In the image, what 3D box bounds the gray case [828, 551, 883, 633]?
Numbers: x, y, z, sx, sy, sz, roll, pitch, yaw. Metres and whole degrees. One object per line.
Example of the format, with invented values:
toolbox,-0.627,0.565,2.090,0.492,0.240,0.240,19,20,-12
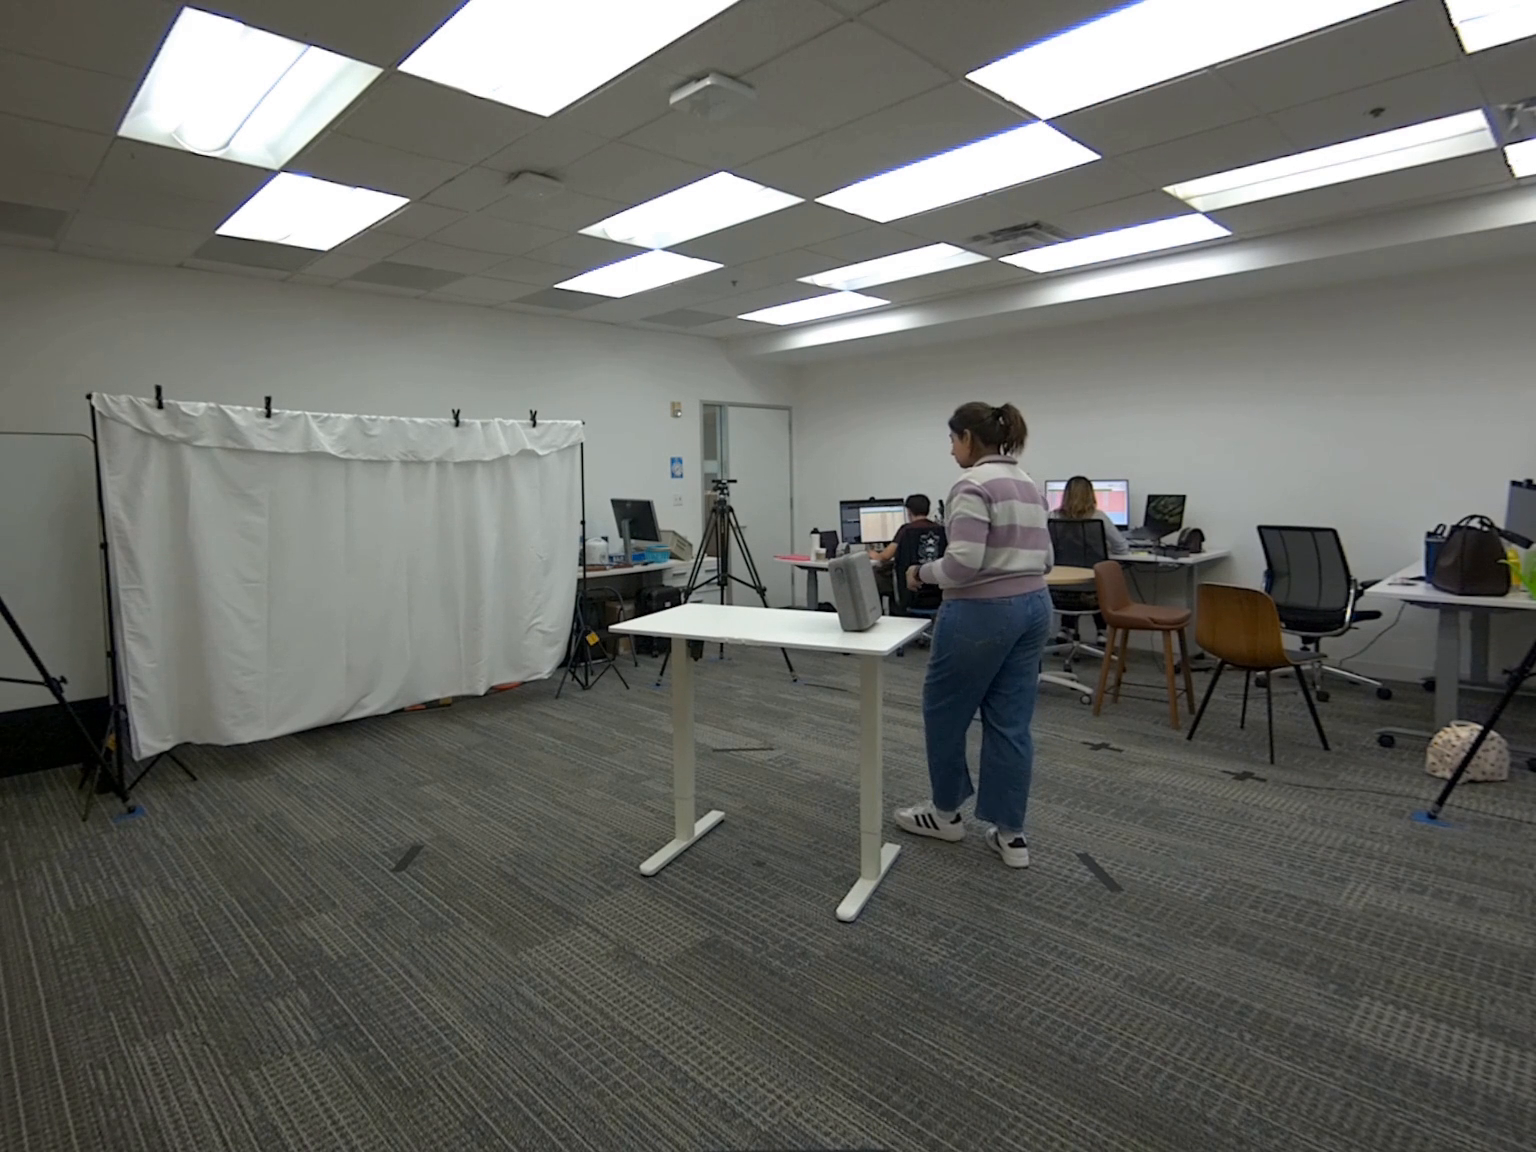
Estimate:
gray case,0.301,0.048,2.956,0.106,0.261,0.253,-11,1,18
